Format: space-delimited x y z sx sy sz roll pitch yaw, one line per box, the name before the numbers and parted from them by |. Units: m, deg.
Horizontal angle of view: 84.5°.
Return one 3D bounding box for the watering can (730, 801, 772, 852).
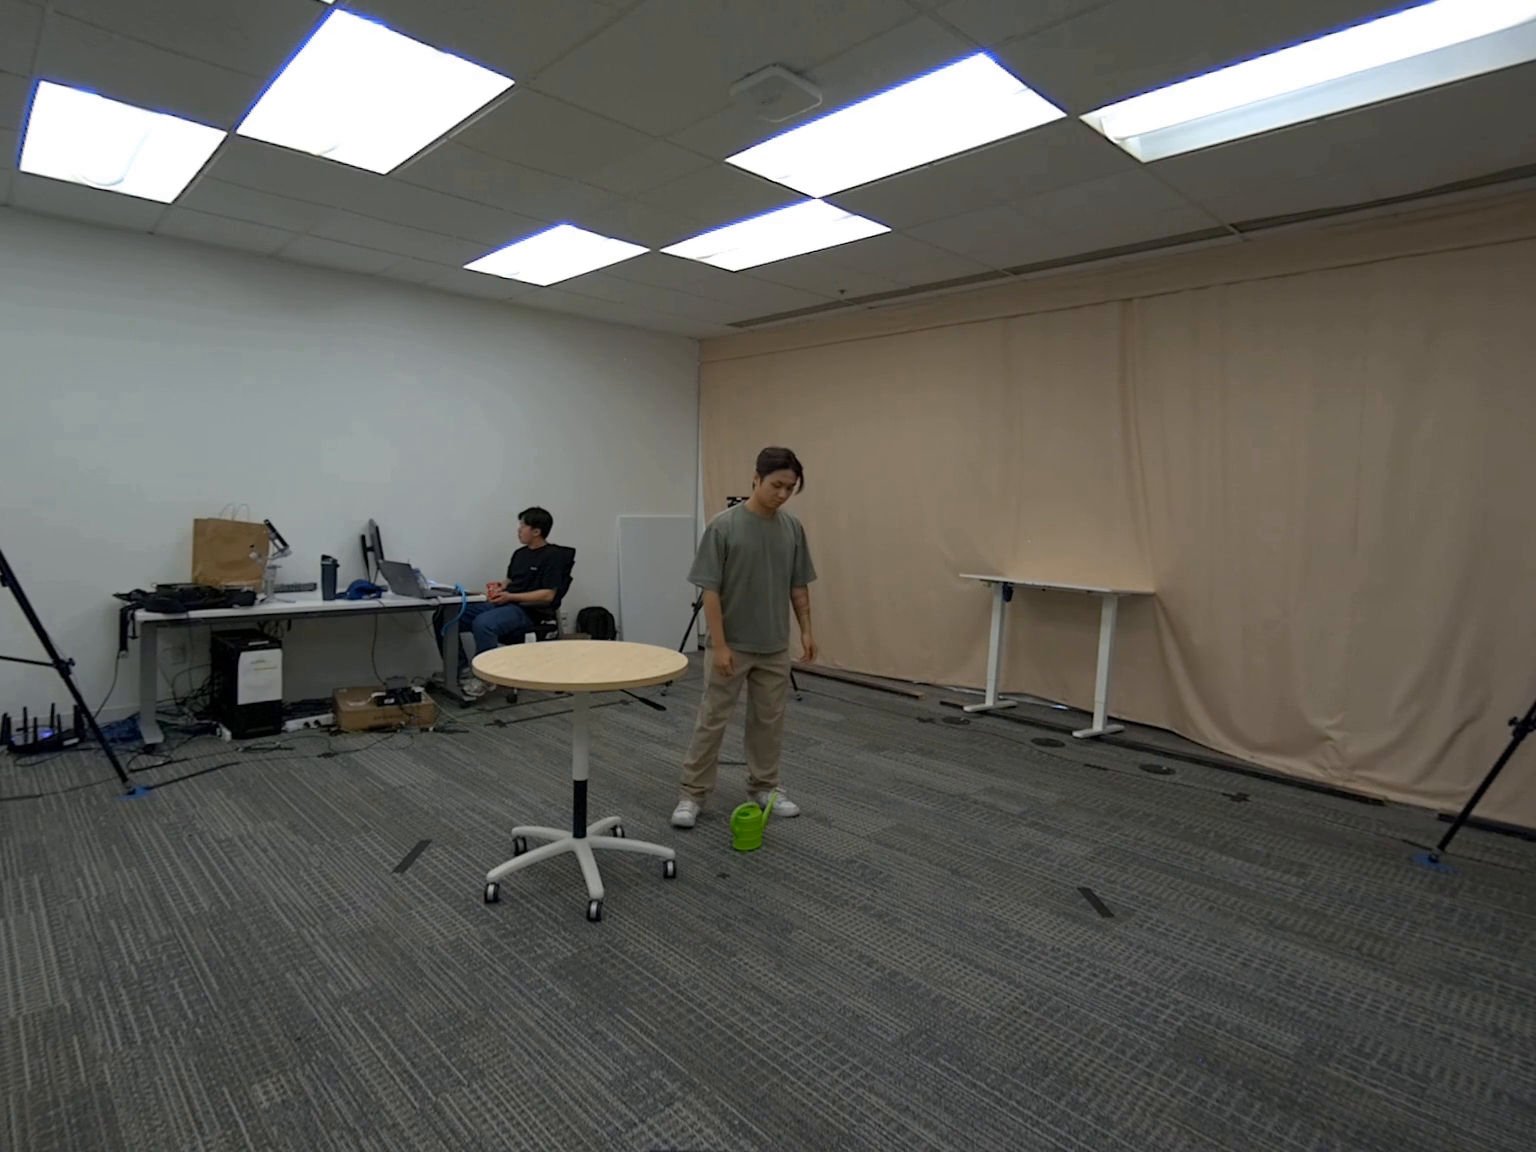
watering can | -0.057 0.992 3.388 0.272 0.176 0.100 -3 6 -34
